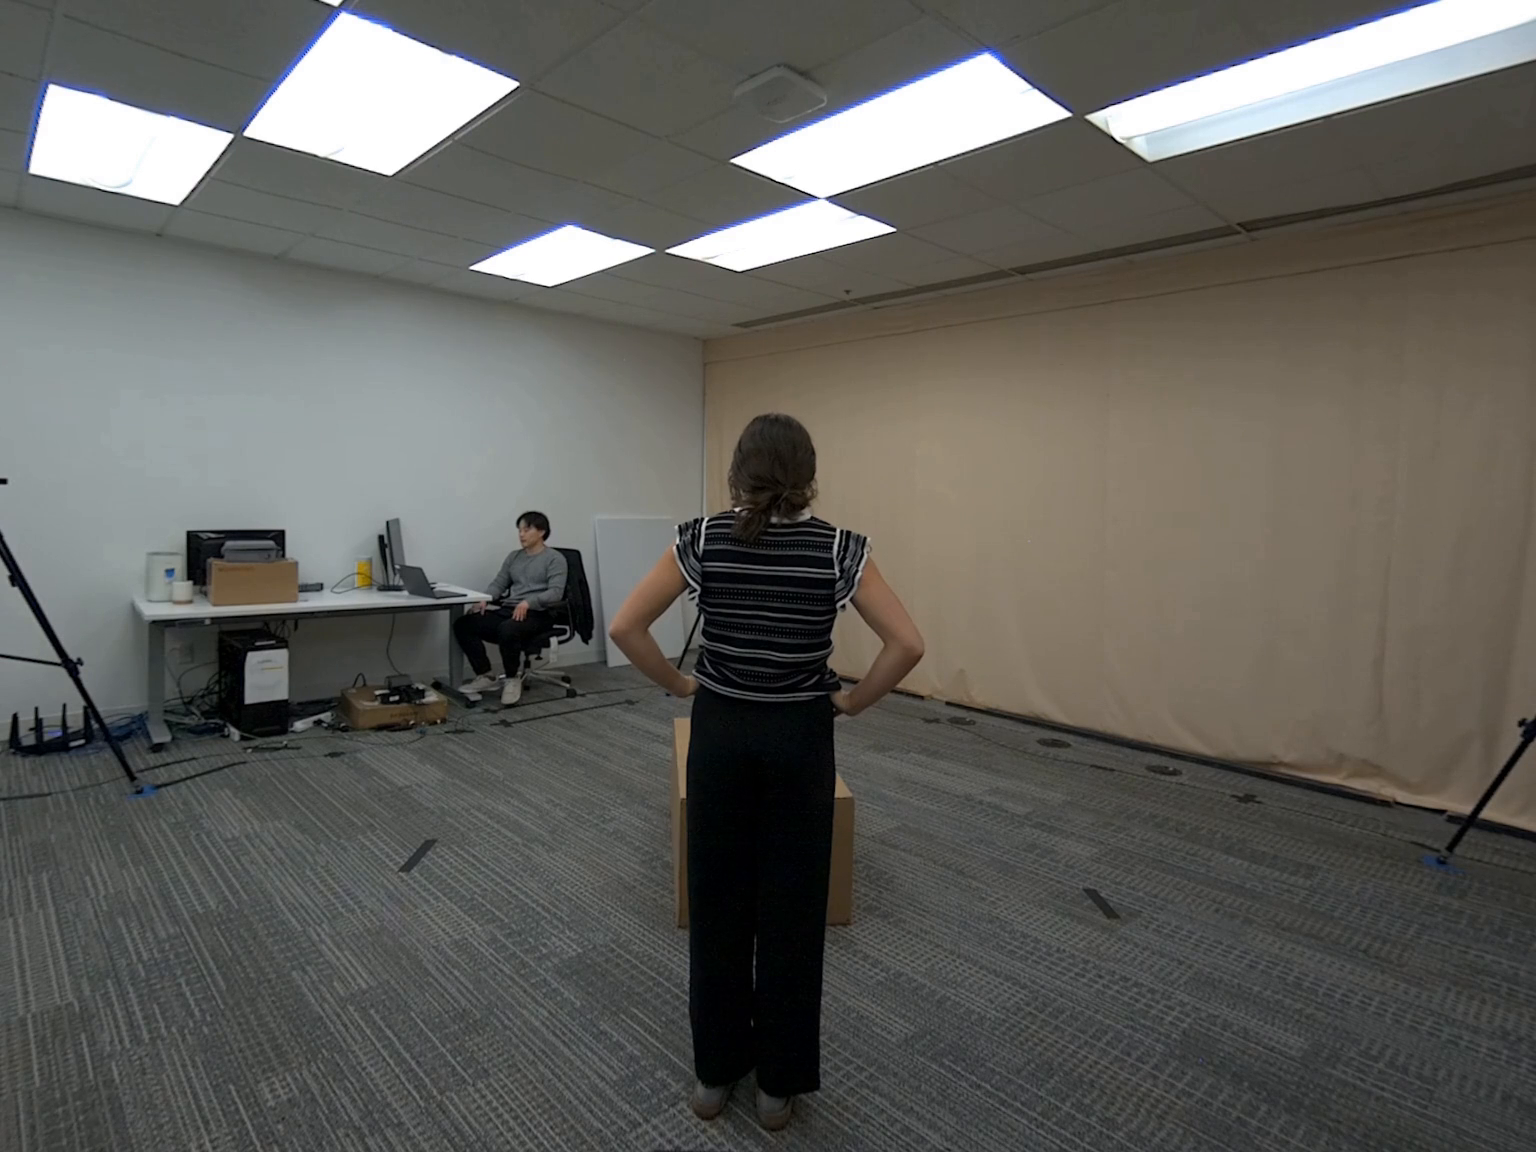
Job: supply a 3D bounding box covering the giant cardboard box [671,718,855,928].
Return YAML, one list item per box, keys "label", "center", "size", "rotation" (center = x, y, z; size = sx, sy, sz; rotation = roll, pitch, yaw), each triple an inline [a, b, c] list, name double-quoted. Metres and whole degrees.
- label: "giant cardboard box"
  center: [-0.074, 0.887, 3.230]
  size: [0.575, 0.425, 1.033]
  rotation: [0, 5, -7]
